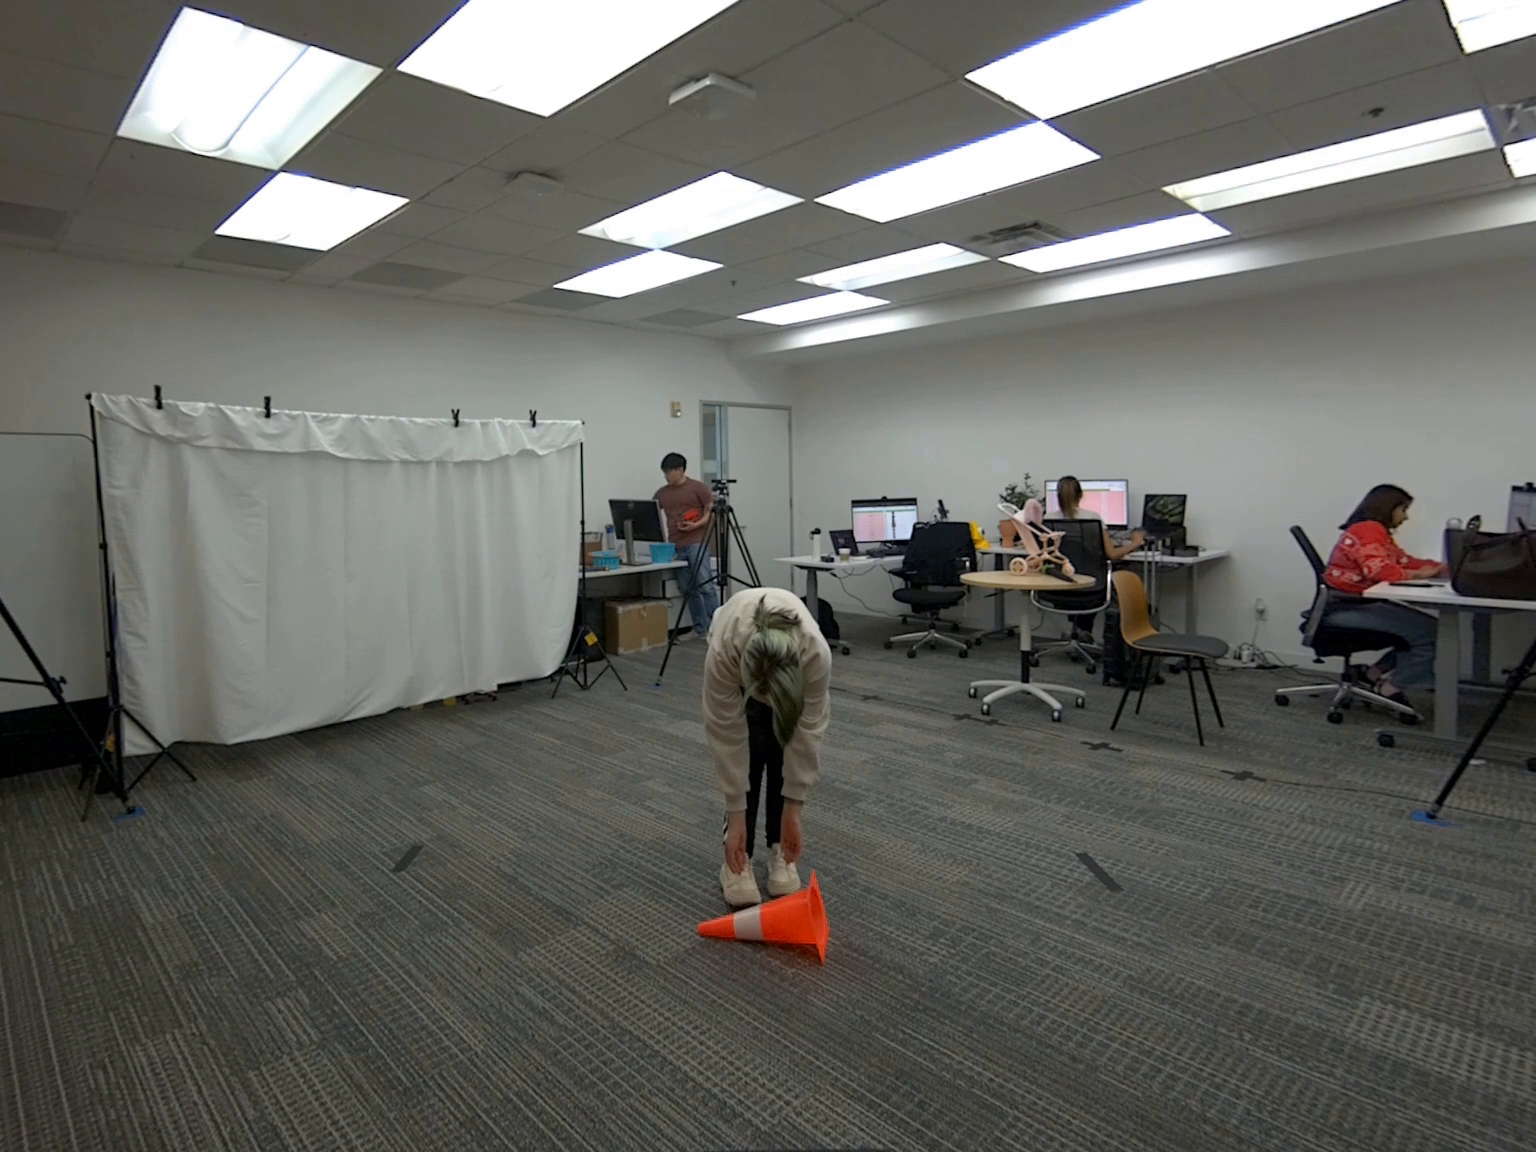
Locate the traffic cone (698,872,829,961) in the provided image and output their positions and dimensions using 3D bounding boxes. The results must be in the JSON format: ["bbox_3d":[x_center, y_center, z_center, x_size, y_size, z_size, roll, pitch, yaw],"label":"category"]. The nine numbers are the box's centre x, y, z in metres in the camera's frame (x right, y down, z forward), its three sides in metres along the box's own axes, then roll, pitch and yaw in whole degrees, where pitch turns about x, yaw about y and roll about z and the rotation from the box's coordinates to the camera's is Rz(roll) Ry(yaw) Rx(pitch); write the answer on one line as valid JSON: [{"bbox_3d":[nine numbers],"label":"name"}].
[{"bbox_3d":[-0.028,1.061,2.589,0.387,0.206,0.201,-14,-2,14],"label":"traffic cone"}]
